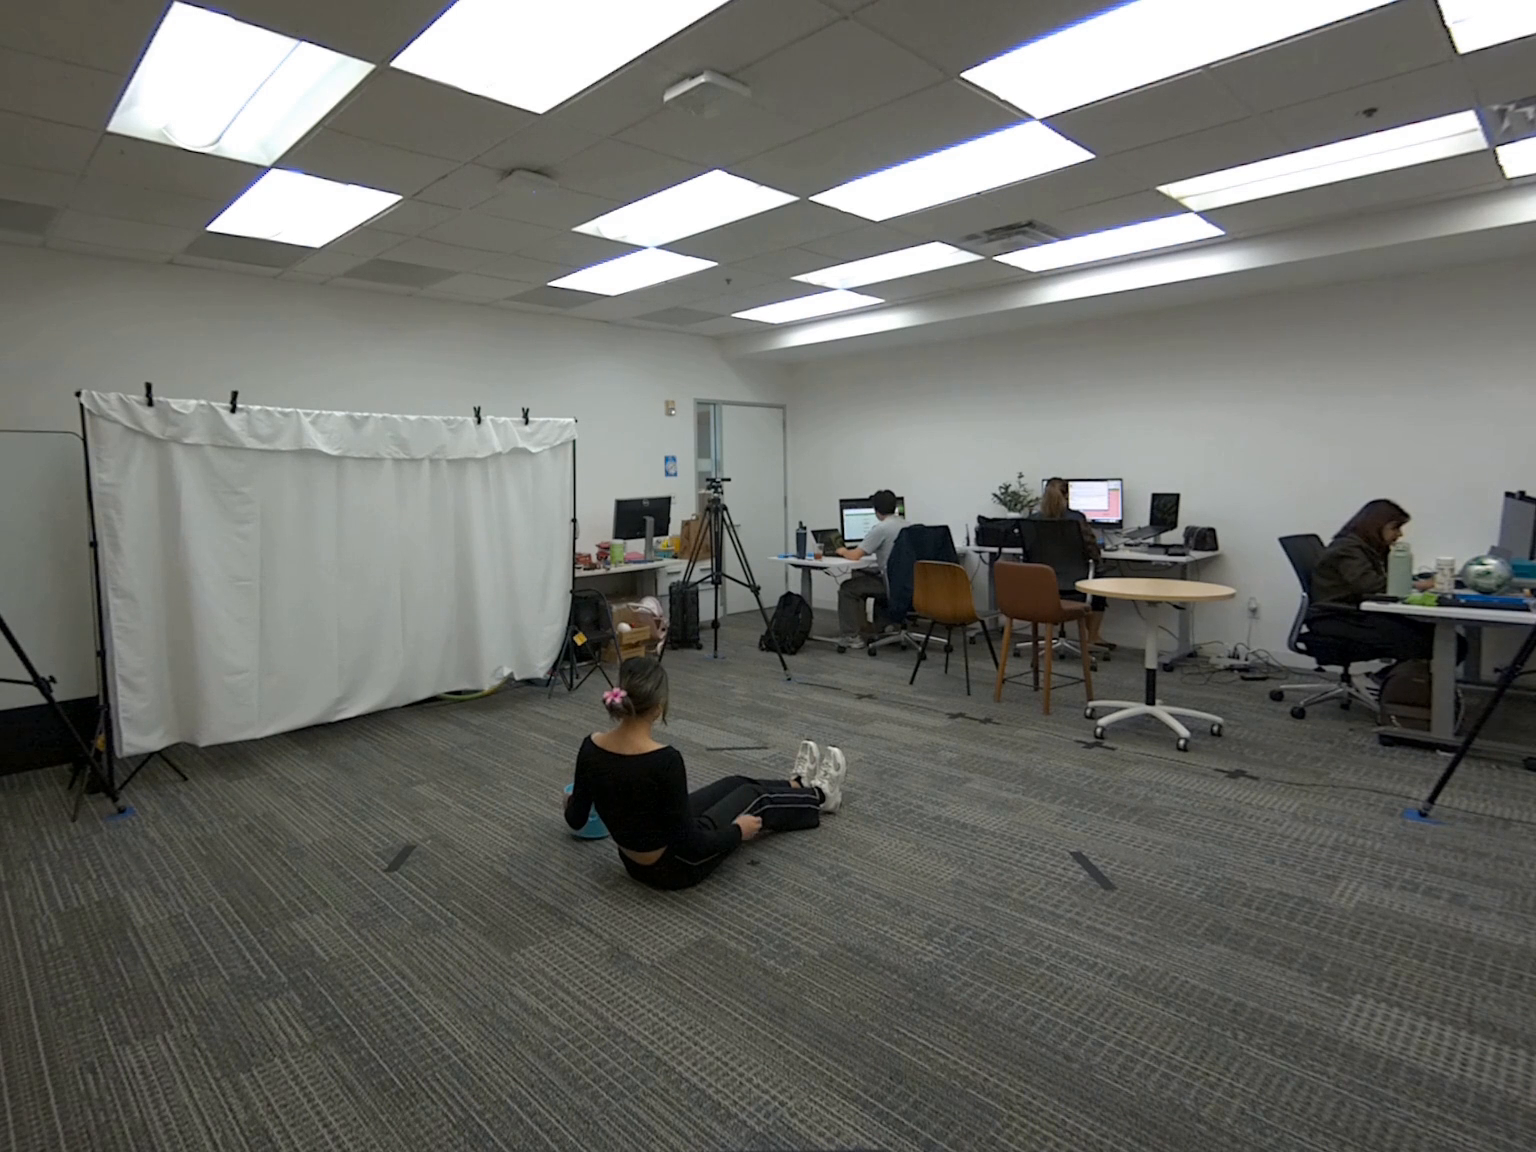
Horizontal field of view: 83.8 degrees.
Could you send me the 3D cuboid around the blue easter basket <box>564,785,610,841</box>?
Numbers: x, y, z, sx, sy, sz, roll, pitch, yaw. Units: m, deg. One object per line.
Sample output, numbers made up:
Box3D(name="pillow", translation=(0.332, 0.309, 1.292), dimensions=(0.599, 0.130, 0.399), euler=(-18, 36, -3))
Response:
Box3D(name="blue easter basket", translation=(-0.682, 0.927, 3.403), dimensions=(0.243, 0.155, 0.244), euler=(4, 3, -2))
